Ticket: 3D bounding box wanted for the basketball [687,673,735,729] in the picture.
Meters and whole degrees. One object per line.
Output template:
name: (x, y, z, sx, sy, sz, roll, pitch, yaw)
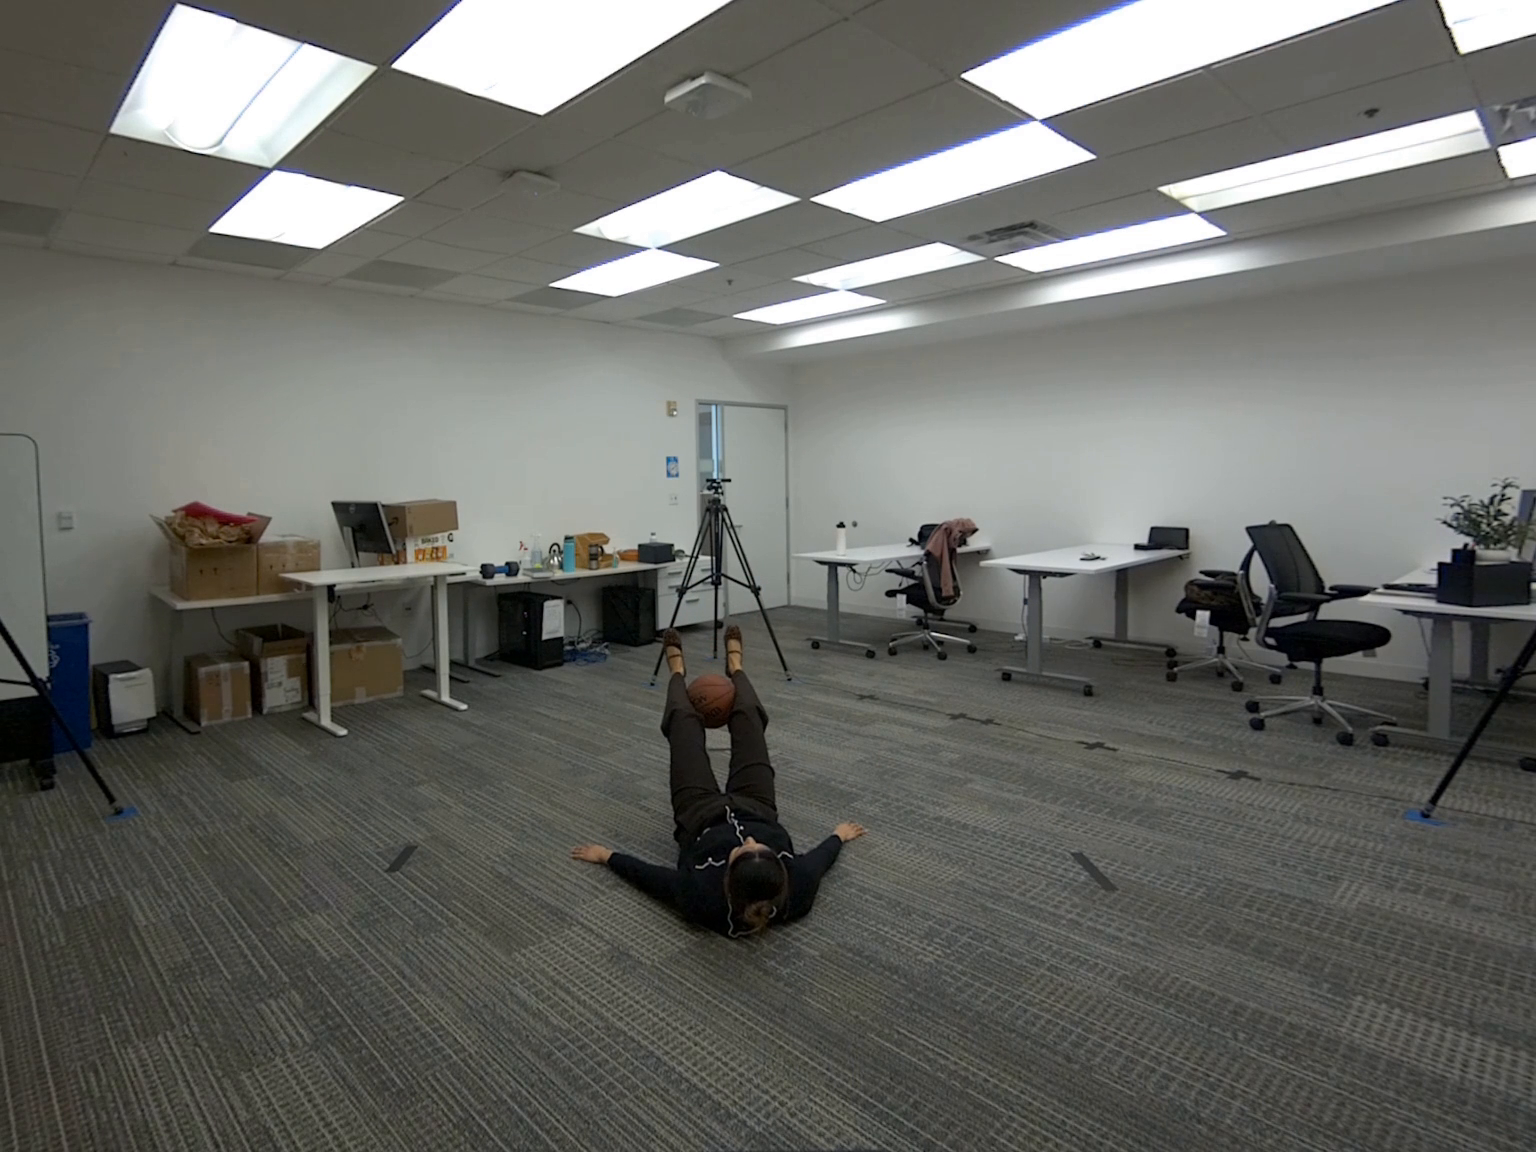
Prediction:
basketball: (-0.244, 0.544, 3.695, 0.236, 0.235, 0.237, -1, 5, -2)
